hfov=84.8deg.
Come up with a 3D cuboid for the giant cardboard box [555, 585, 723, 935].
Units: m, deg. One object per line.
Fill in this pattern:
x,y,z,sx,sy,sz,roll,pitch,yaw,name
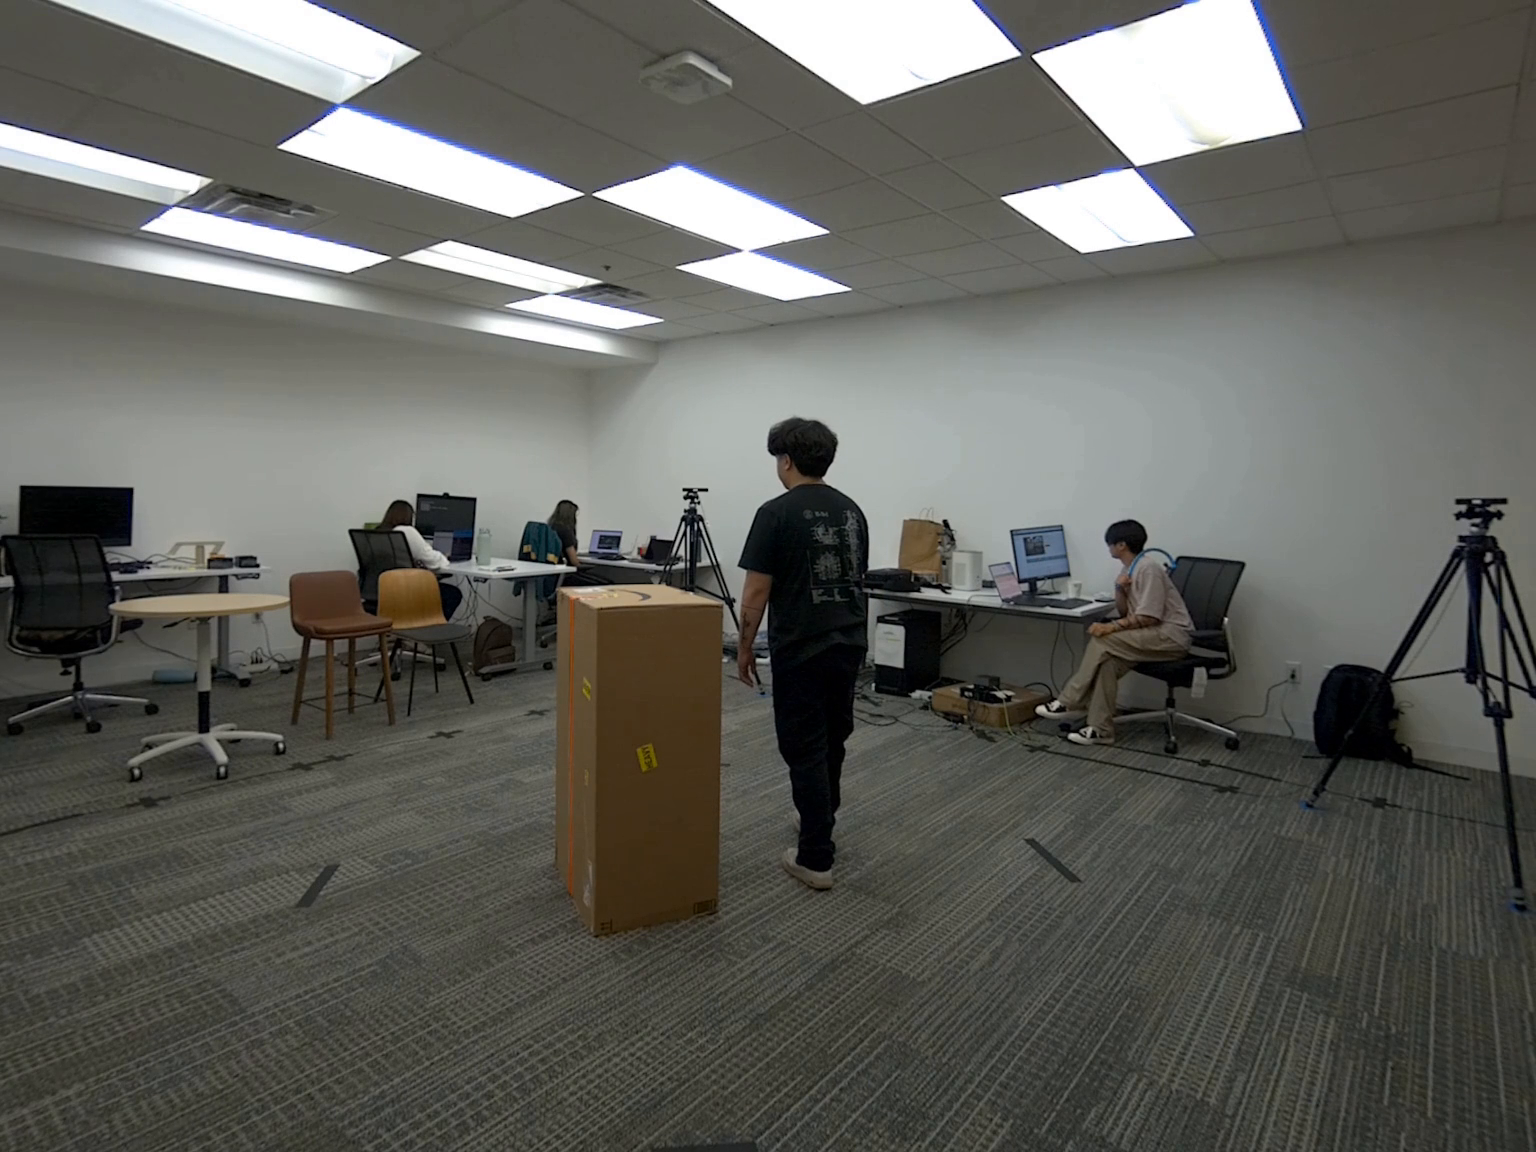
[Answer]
-0.476,0.568,2.936,0.437,1.024,0.599,-1,4,-24,giant cardboard box
